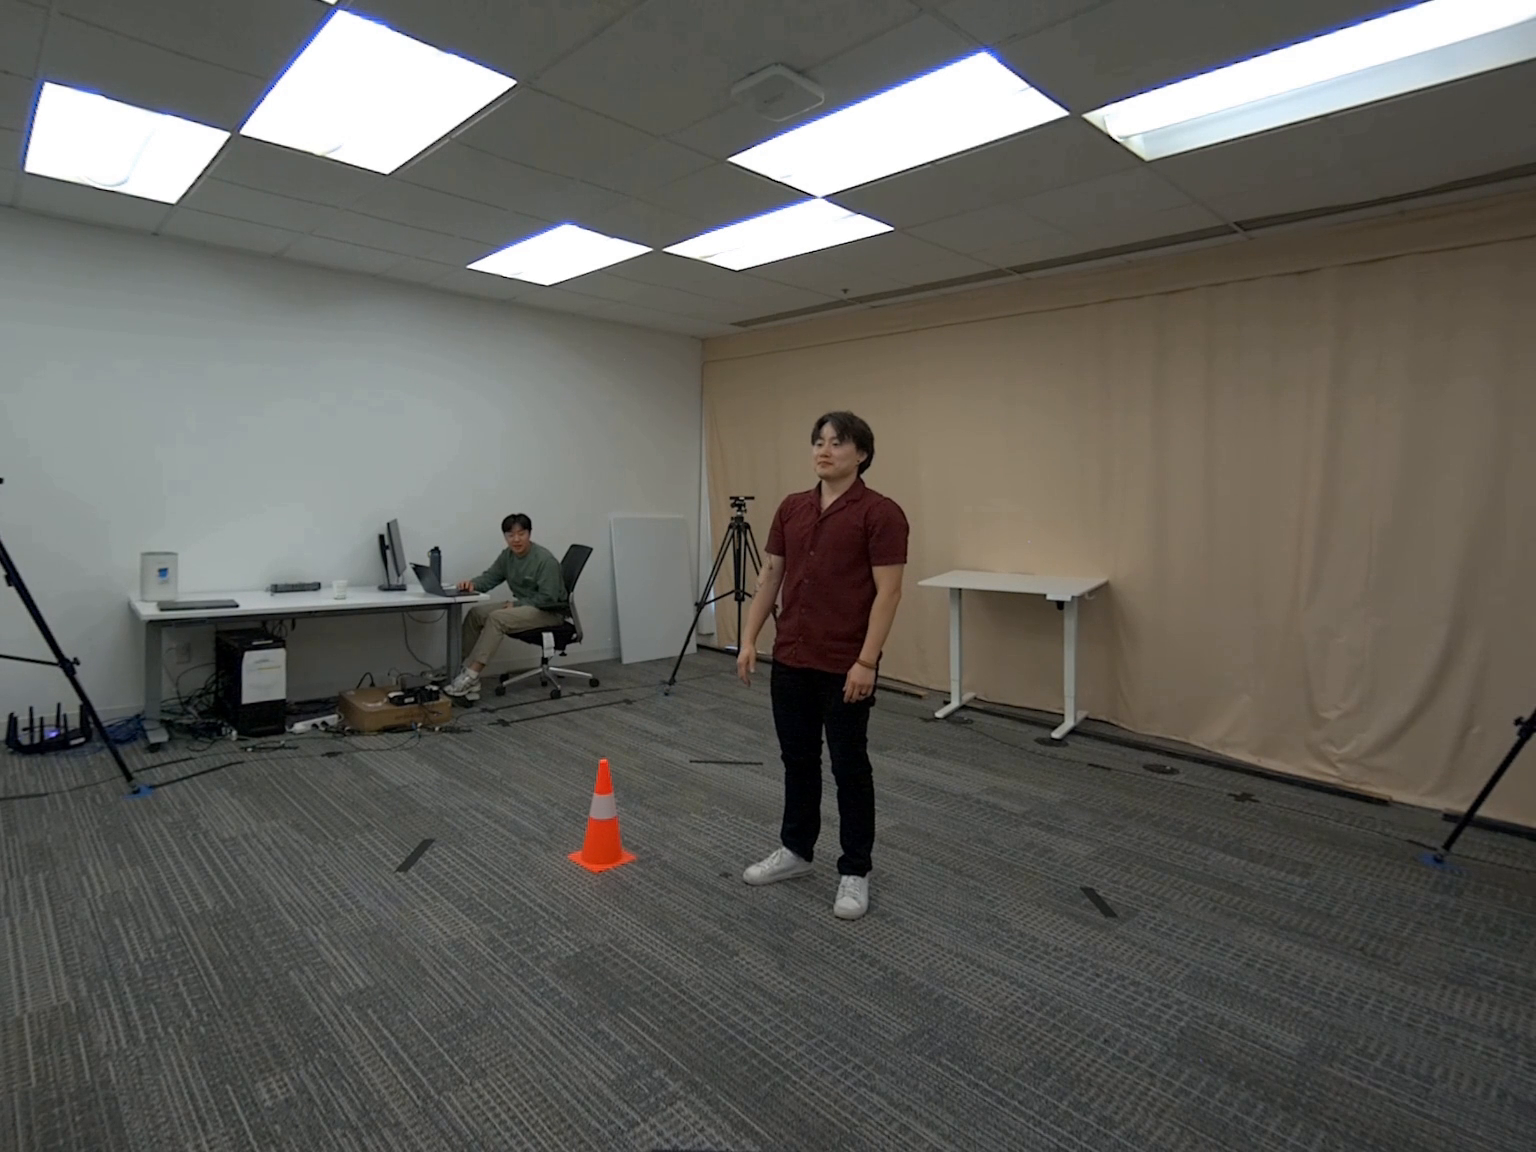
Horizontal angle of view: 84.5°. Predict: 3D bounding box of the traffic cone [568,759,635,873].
[{"bbox_3d":[-0.639,0.895,3.227,0.201,0.383,0.208,0,4,-30],"label":"traffic cone"}]
